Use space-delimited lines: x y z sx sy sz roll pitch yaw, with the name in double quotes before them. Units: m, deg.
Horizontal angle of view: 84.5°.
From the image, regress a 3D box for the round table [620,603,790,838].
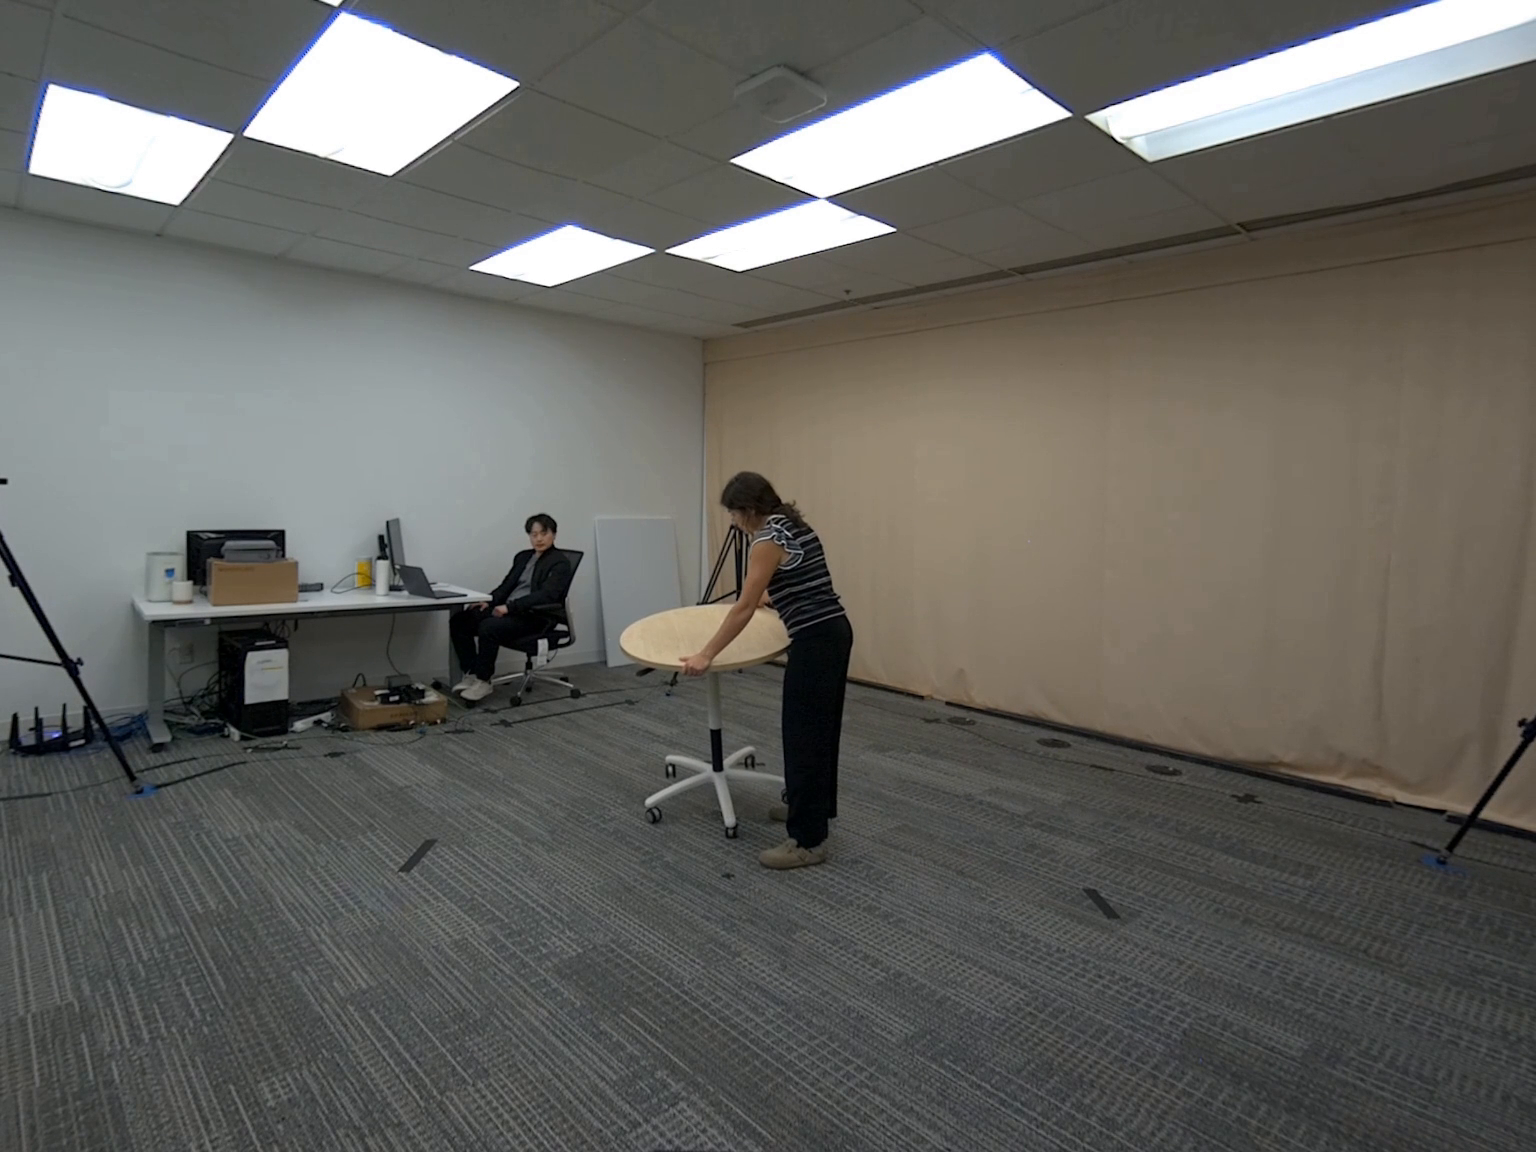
"round table" -0.249 0.621 3.683 0.764 0.785 0.772 -3 14 -1
